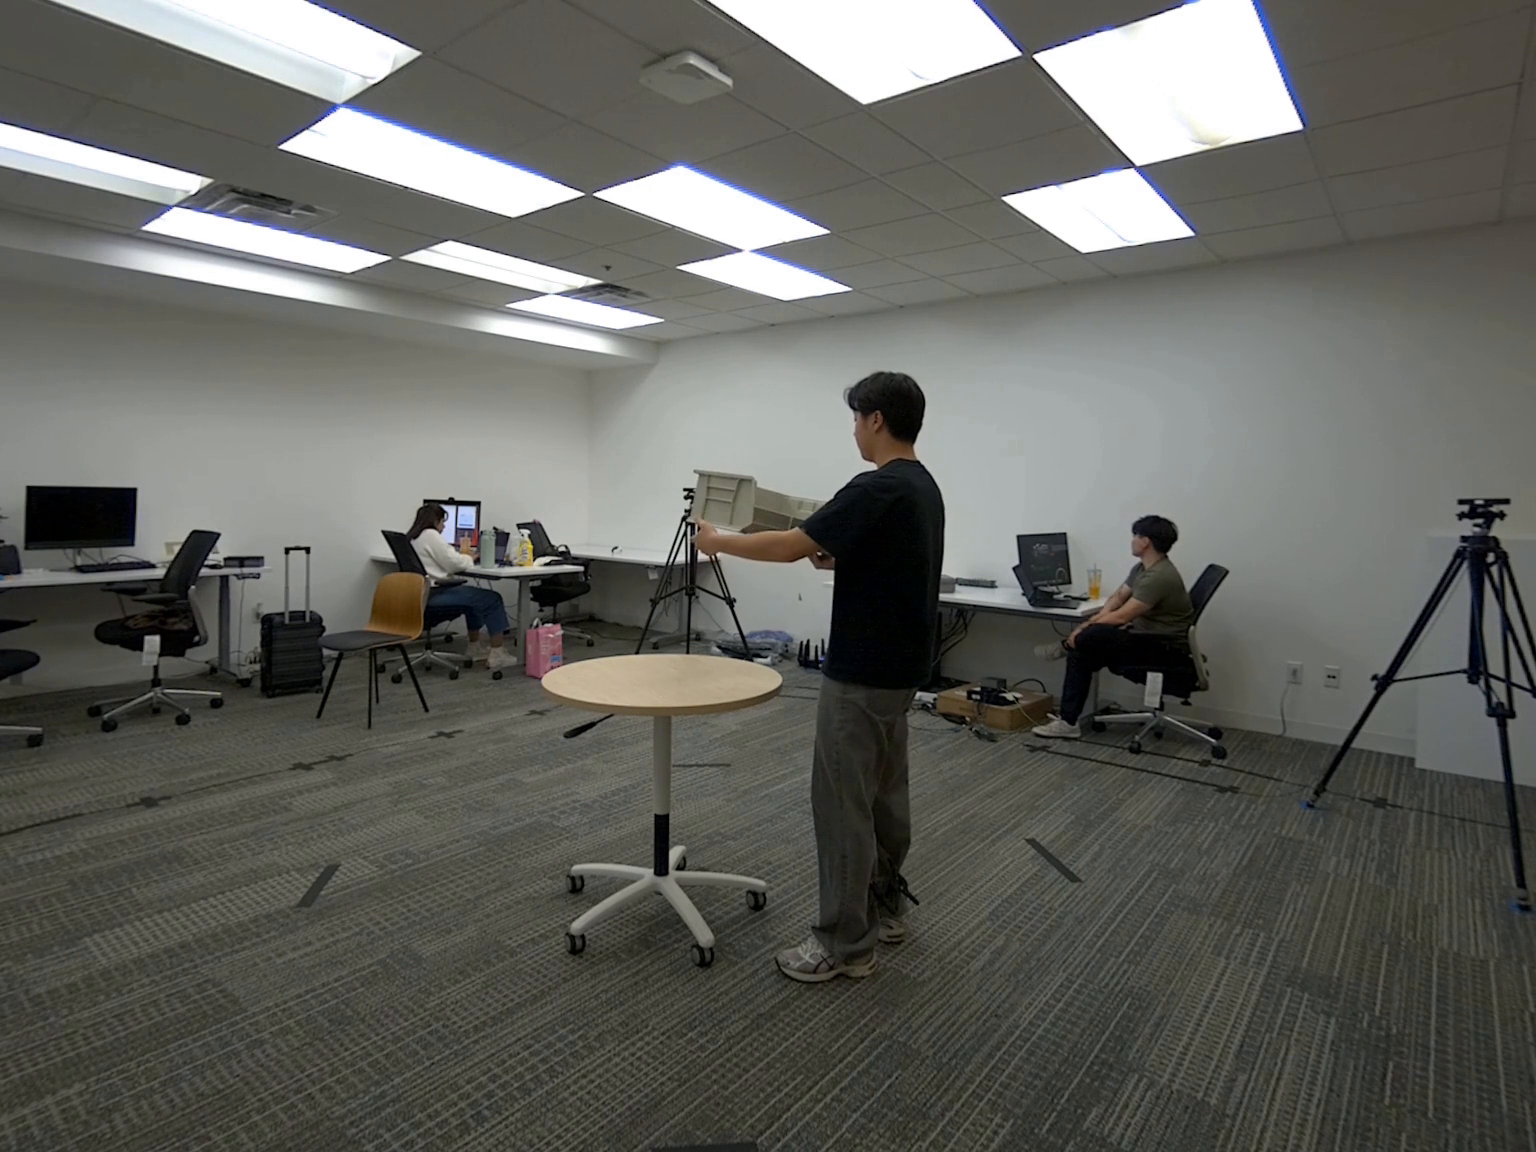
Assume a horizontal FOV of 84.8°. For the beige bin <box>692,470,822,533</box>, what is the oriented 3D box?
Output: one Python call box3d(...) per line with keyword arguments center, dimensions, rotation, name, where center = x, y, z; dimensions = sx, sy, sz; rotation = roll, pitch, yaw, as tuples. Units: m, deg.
box3d(center=(-0.008, -0.206, 2.843), dimensions=(0.407, 0.189, 0.391), rotation=(11, 1, -37), name="beige bin")
